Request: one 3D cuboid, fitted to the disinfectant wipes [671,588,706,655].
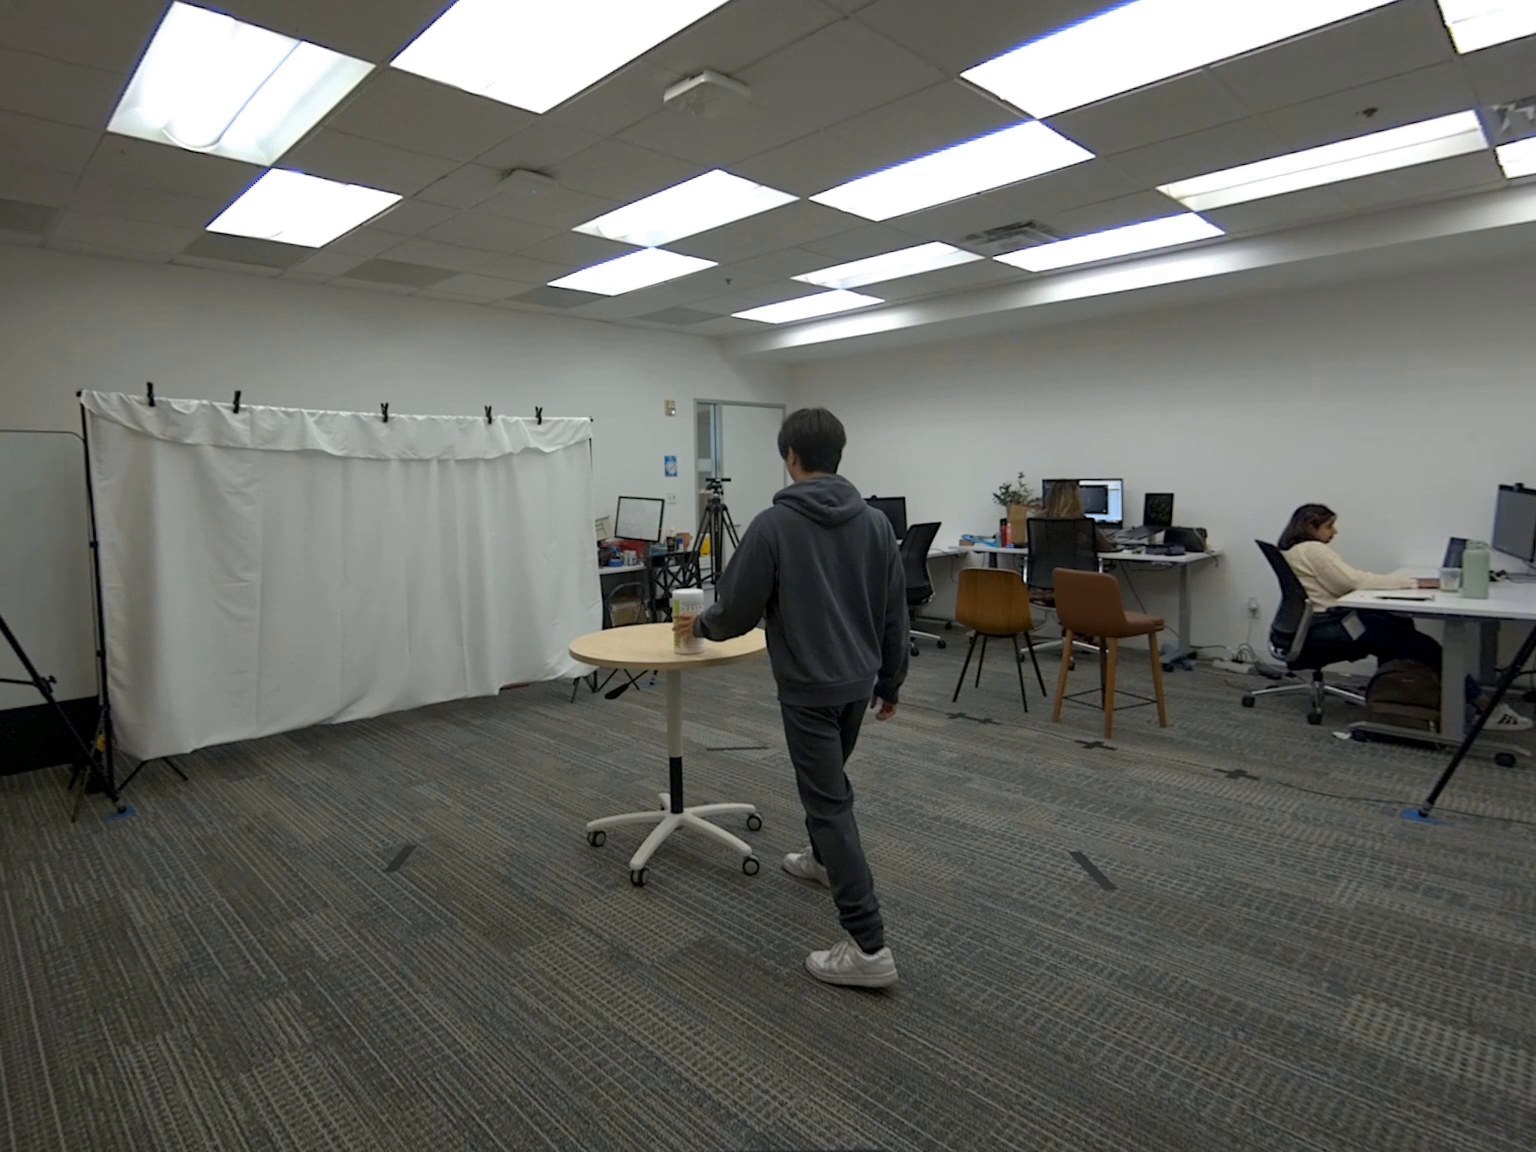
[{"bbox_3d":[-0.271,0.157,2.967,0.118,0.217,0.118,-2,3,-2],"label":"disinfectant wipes"}]
